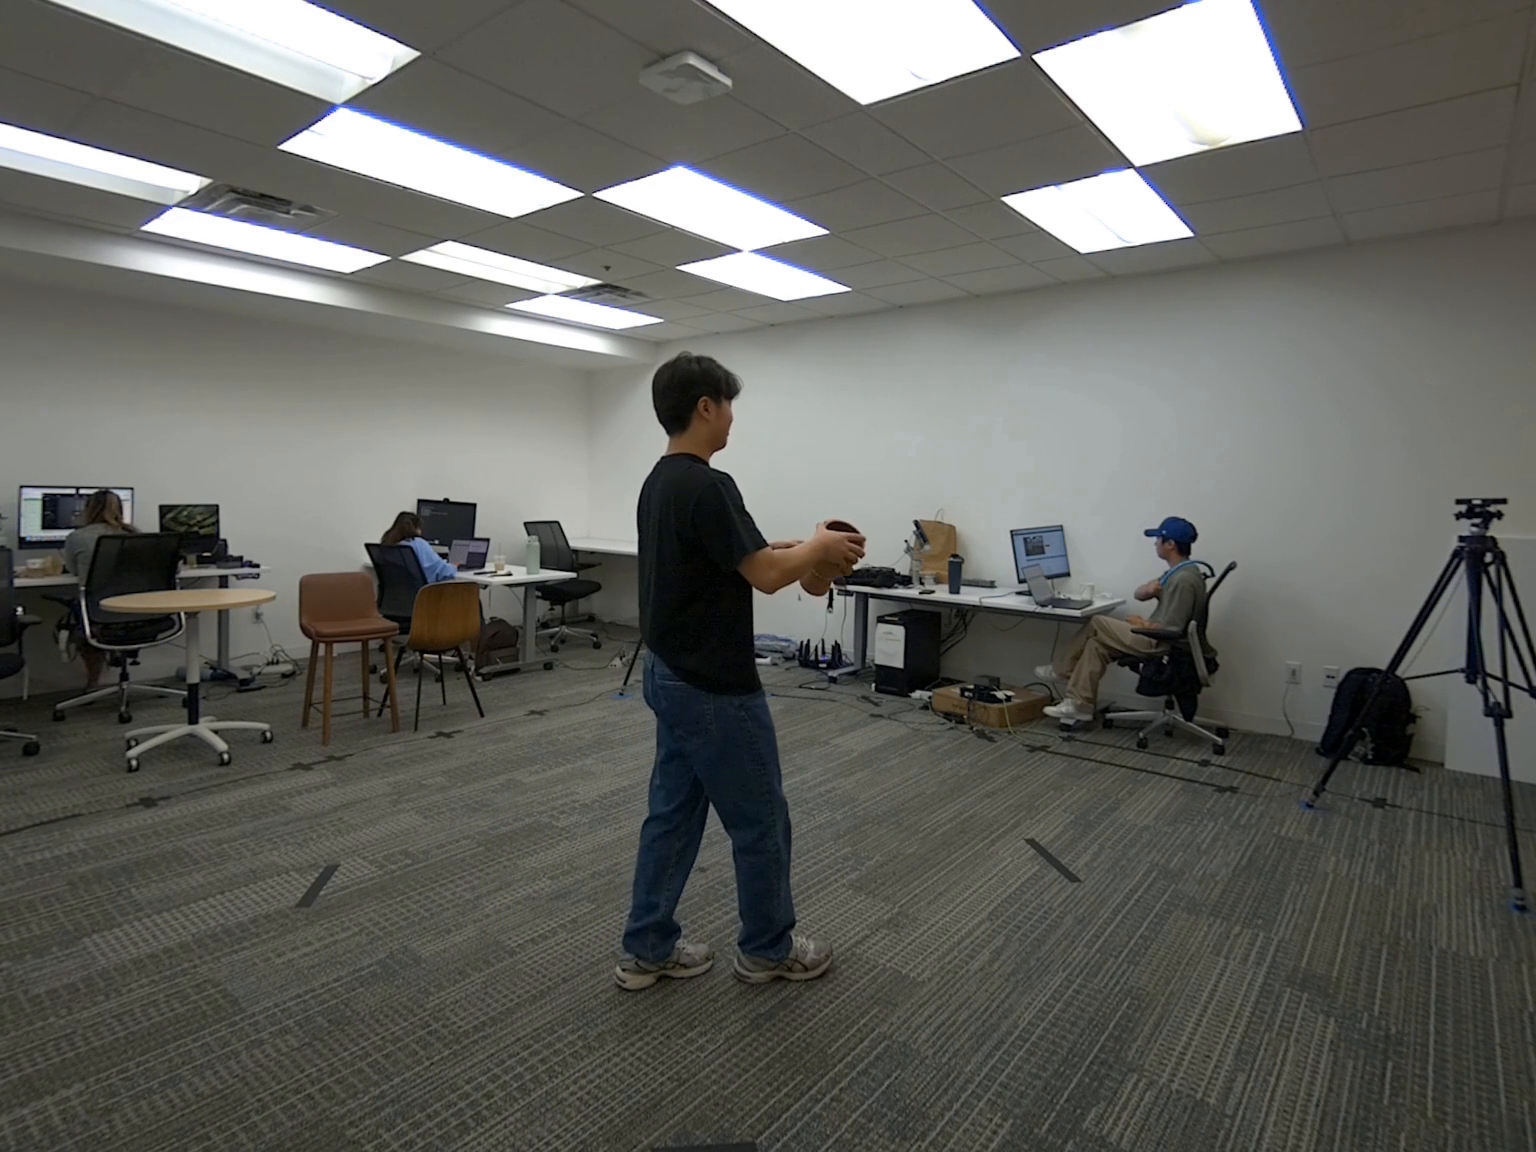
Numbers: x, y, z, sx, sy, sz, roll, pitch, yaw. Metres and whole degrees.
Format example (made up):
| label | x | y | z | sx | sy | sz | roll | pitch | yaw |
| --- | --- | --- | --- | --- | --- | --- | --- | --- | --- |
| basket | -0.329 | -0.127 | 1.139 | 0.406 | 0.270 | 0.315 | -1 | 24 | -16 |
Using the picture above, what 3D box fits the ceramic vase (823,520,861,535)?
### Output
| label | x | y | z | sx | sy | sz | roll | pitch | yaw |
| --- | --- | --- | --- | --- | --- | --- | --- | --- | --- |
| ceramic vase | 0.164 | -0.046 | 2.489 | 0.136 | 0.217 | 0.160 | 29 | 46 | 5 |
